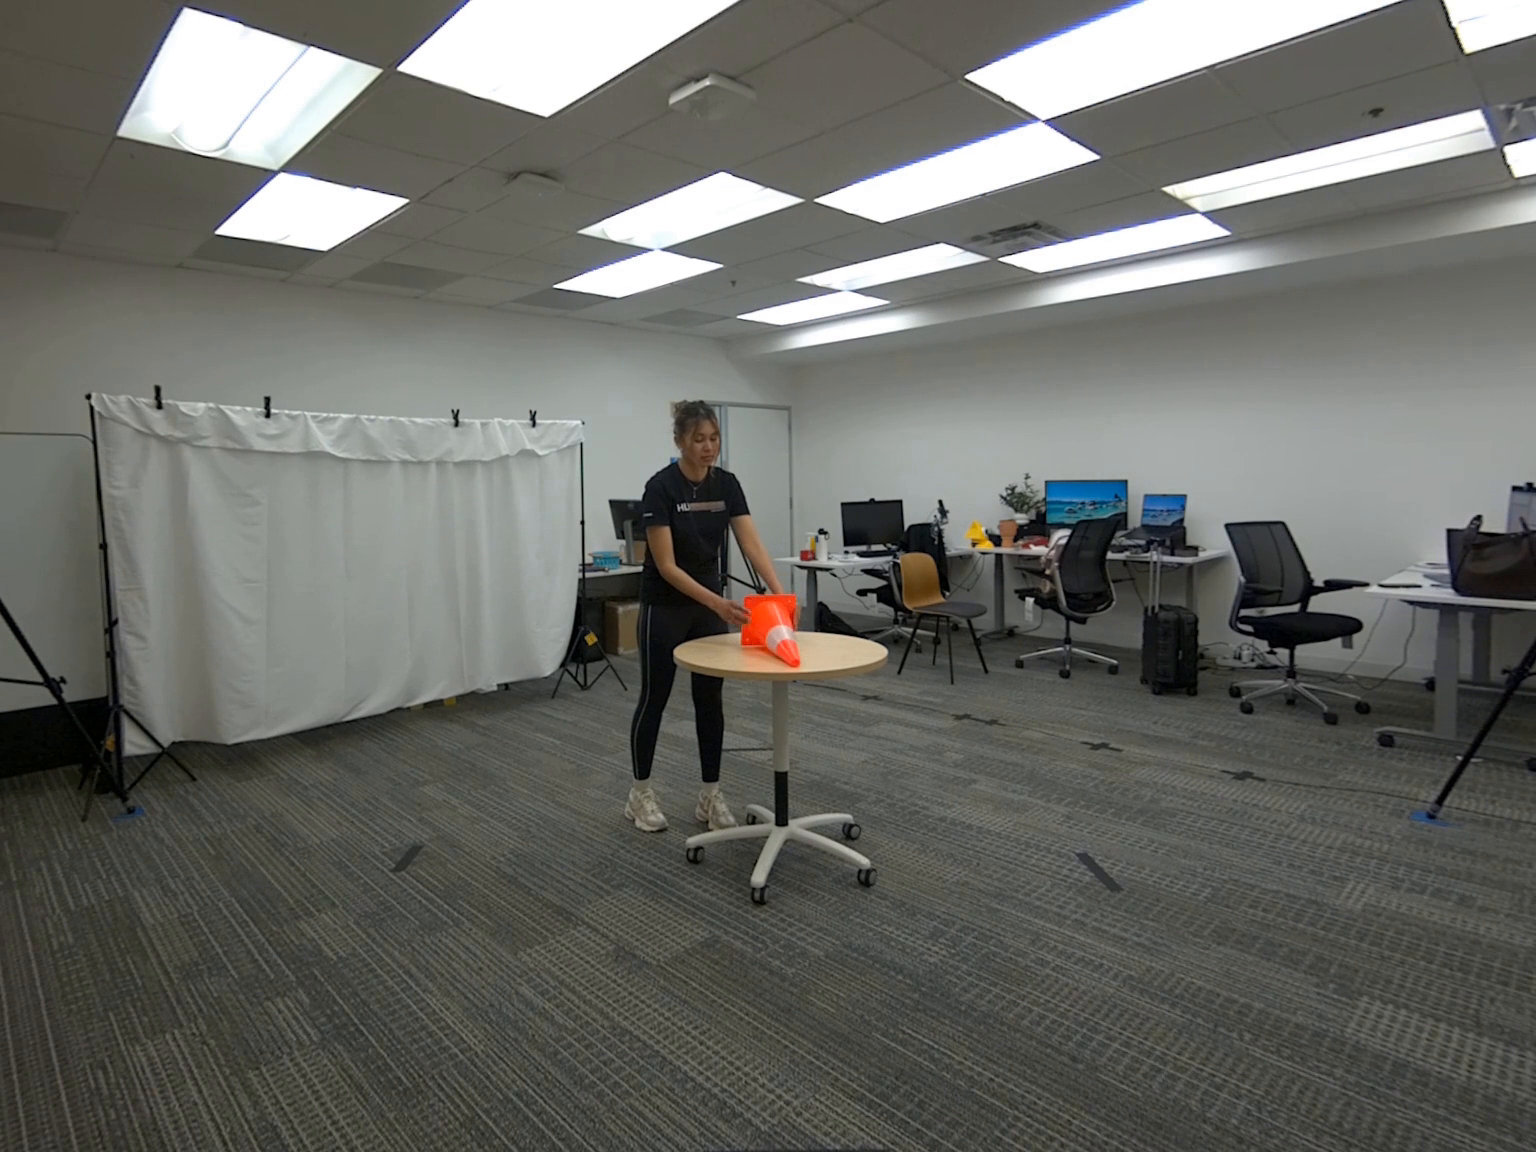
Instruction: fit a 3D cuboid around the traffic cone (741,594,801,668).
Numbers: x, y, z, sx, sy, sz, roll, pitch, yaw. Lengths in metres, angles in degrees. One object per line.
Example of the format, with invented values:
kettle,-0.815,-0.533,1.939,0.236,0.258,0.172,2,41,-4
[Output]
traffic cone,0.056,0.219,2.936,0.201,0.202,0.393,-5,17,-12
